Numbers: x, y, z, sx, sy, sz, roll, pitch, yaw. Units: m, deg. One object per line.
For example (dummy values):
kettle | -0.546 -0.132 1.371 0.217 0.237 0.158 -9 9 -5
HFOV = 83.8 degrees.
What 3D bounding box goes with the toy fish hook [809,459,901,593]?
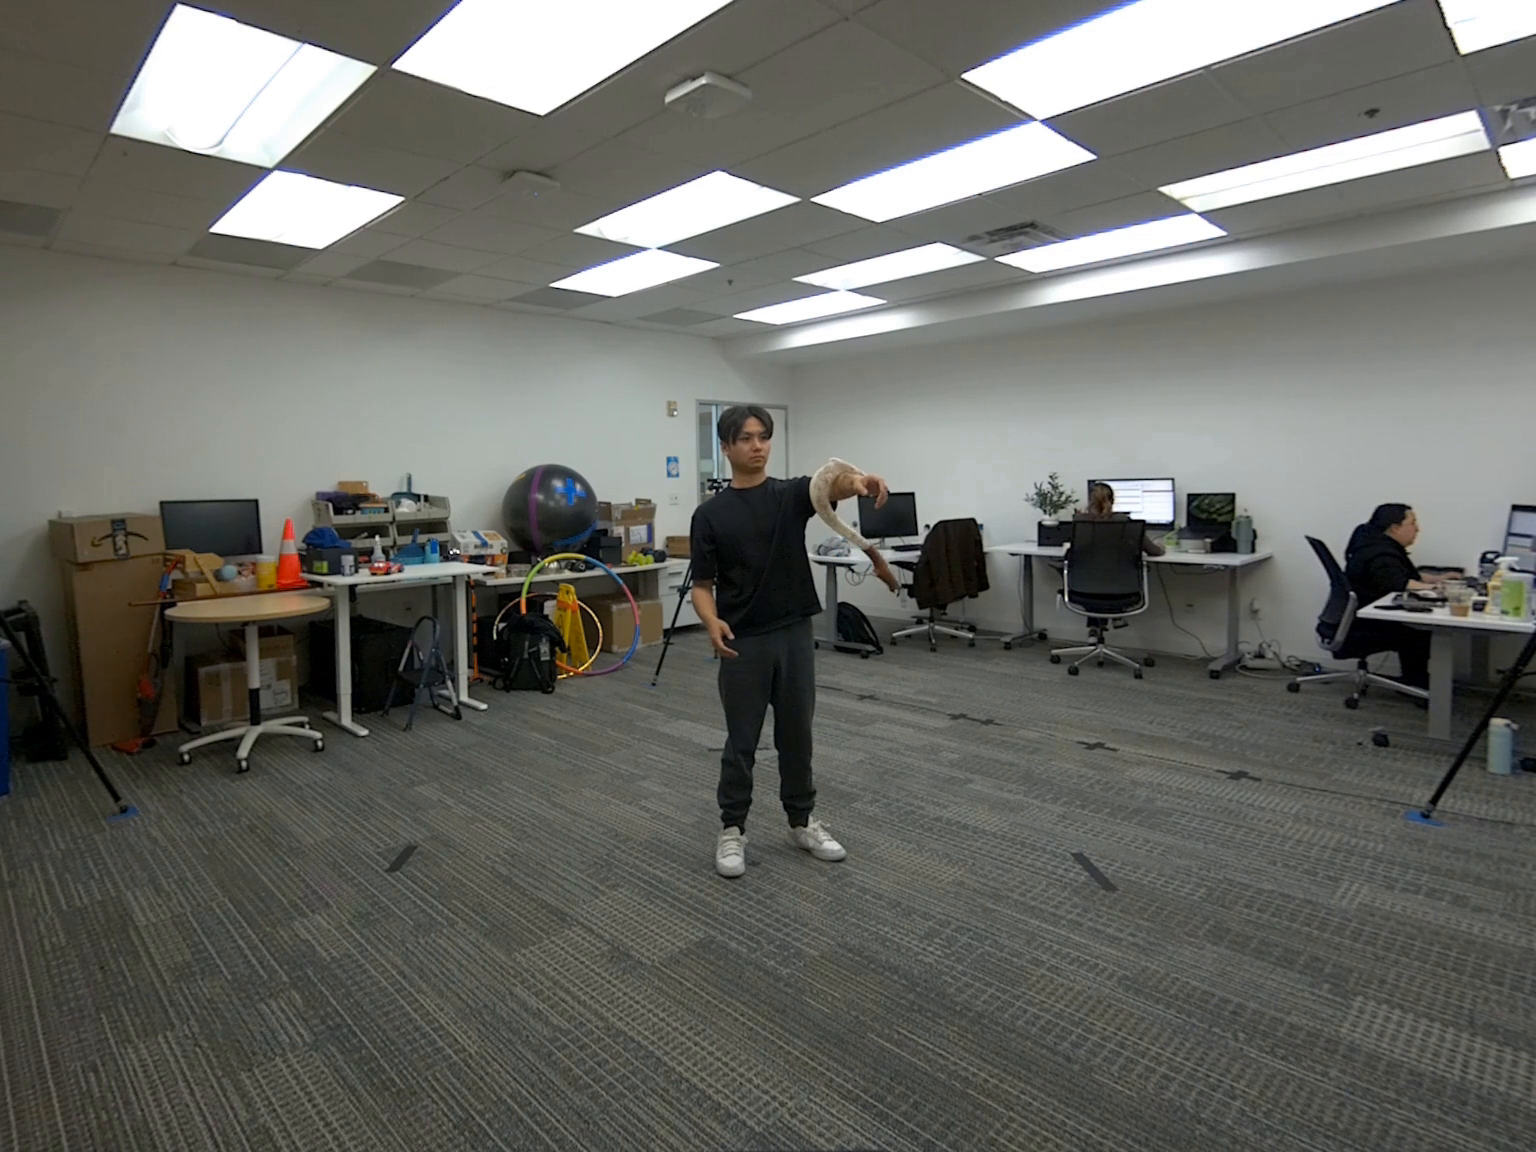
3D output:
toy fish hook | 0.322 -0.167 2.843 0.224 0.495 0.049 -42 18 -13
